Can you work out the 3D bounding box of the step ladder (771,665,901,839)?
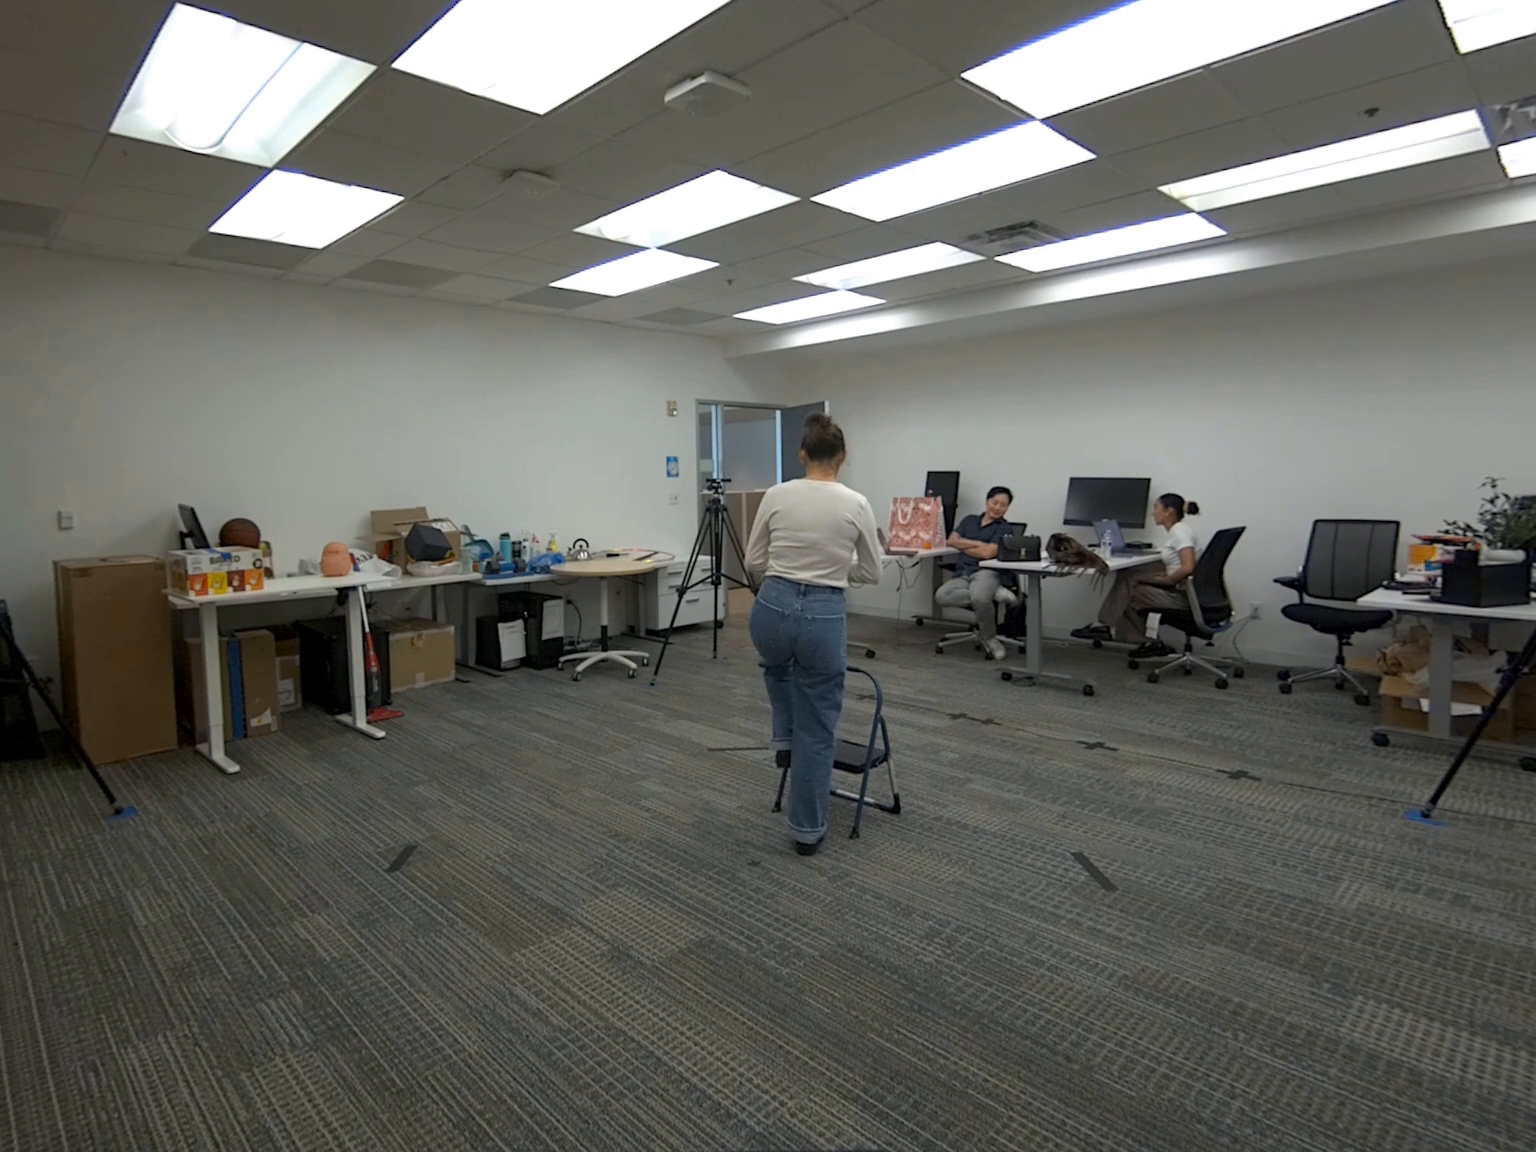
[{"bbox_3d":[0.287,0.687,3.554,0.444,0.604,0.340,4,6,42],"label":"step ladder"}]
